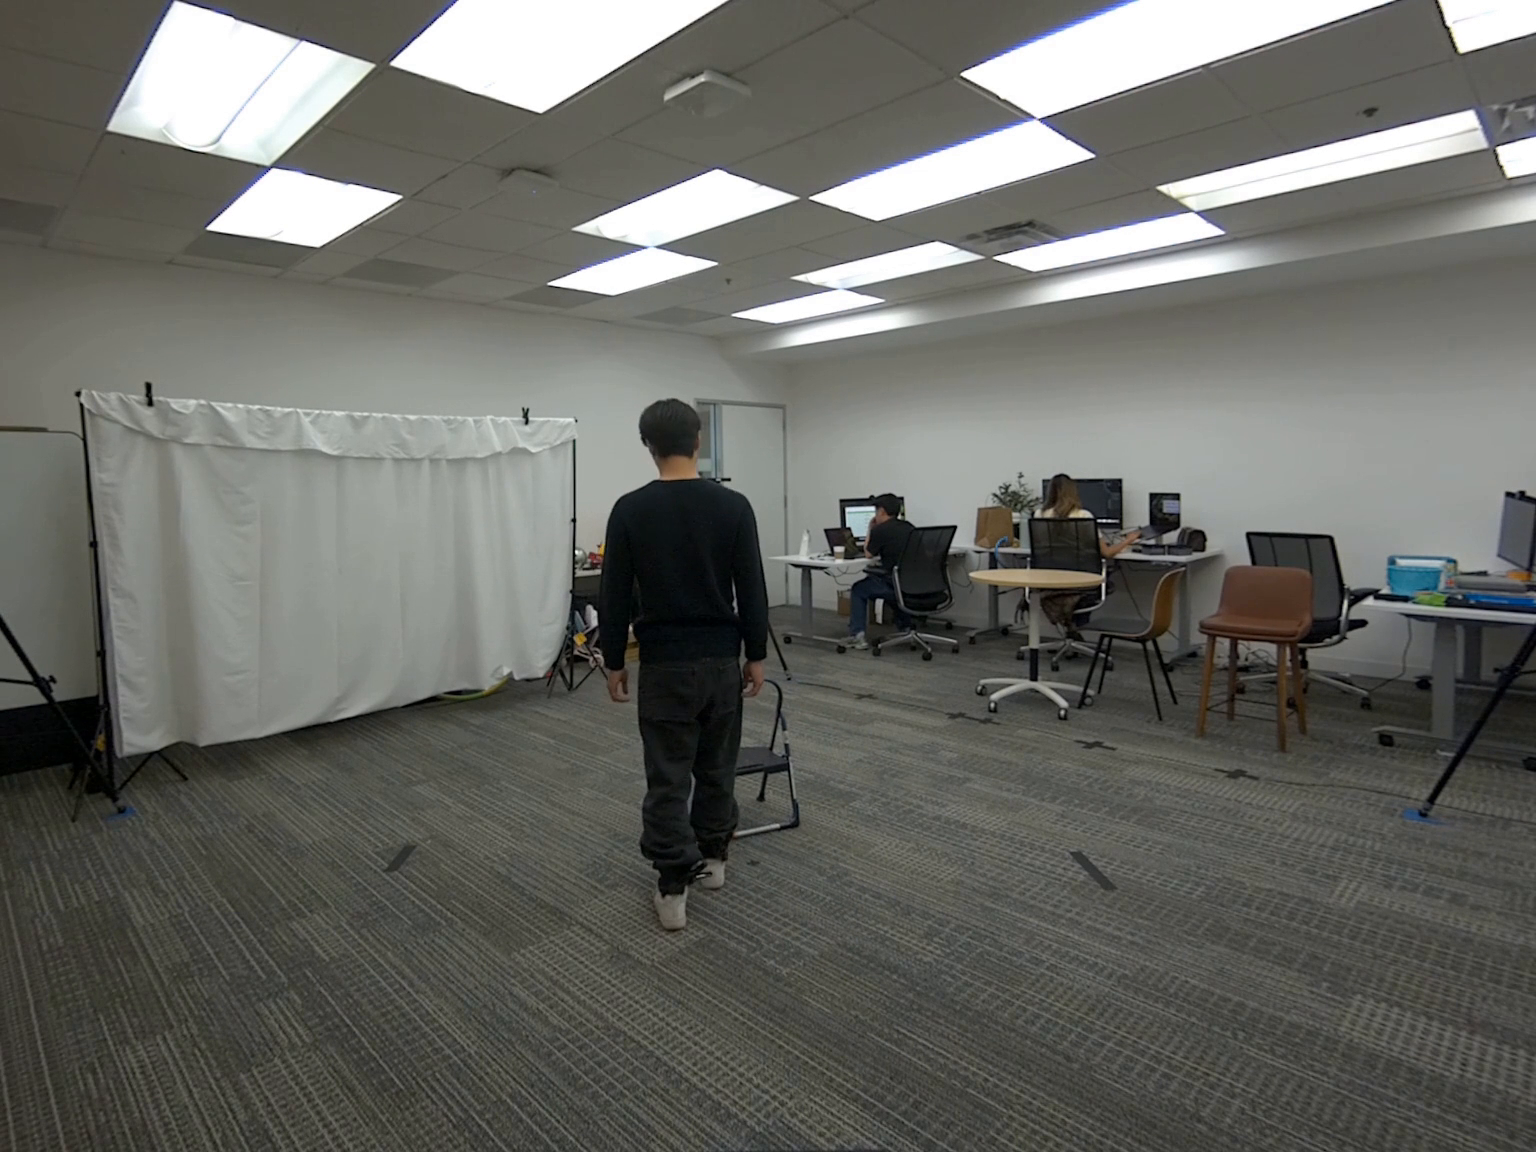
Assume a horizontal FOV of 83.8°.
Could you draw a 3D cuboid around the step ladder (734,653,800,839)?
[{"bbox_3d":[-0.135,0.699,3.476,0.421,0.604,0.358,-3,4,-27],"label":"step ladder"}]
